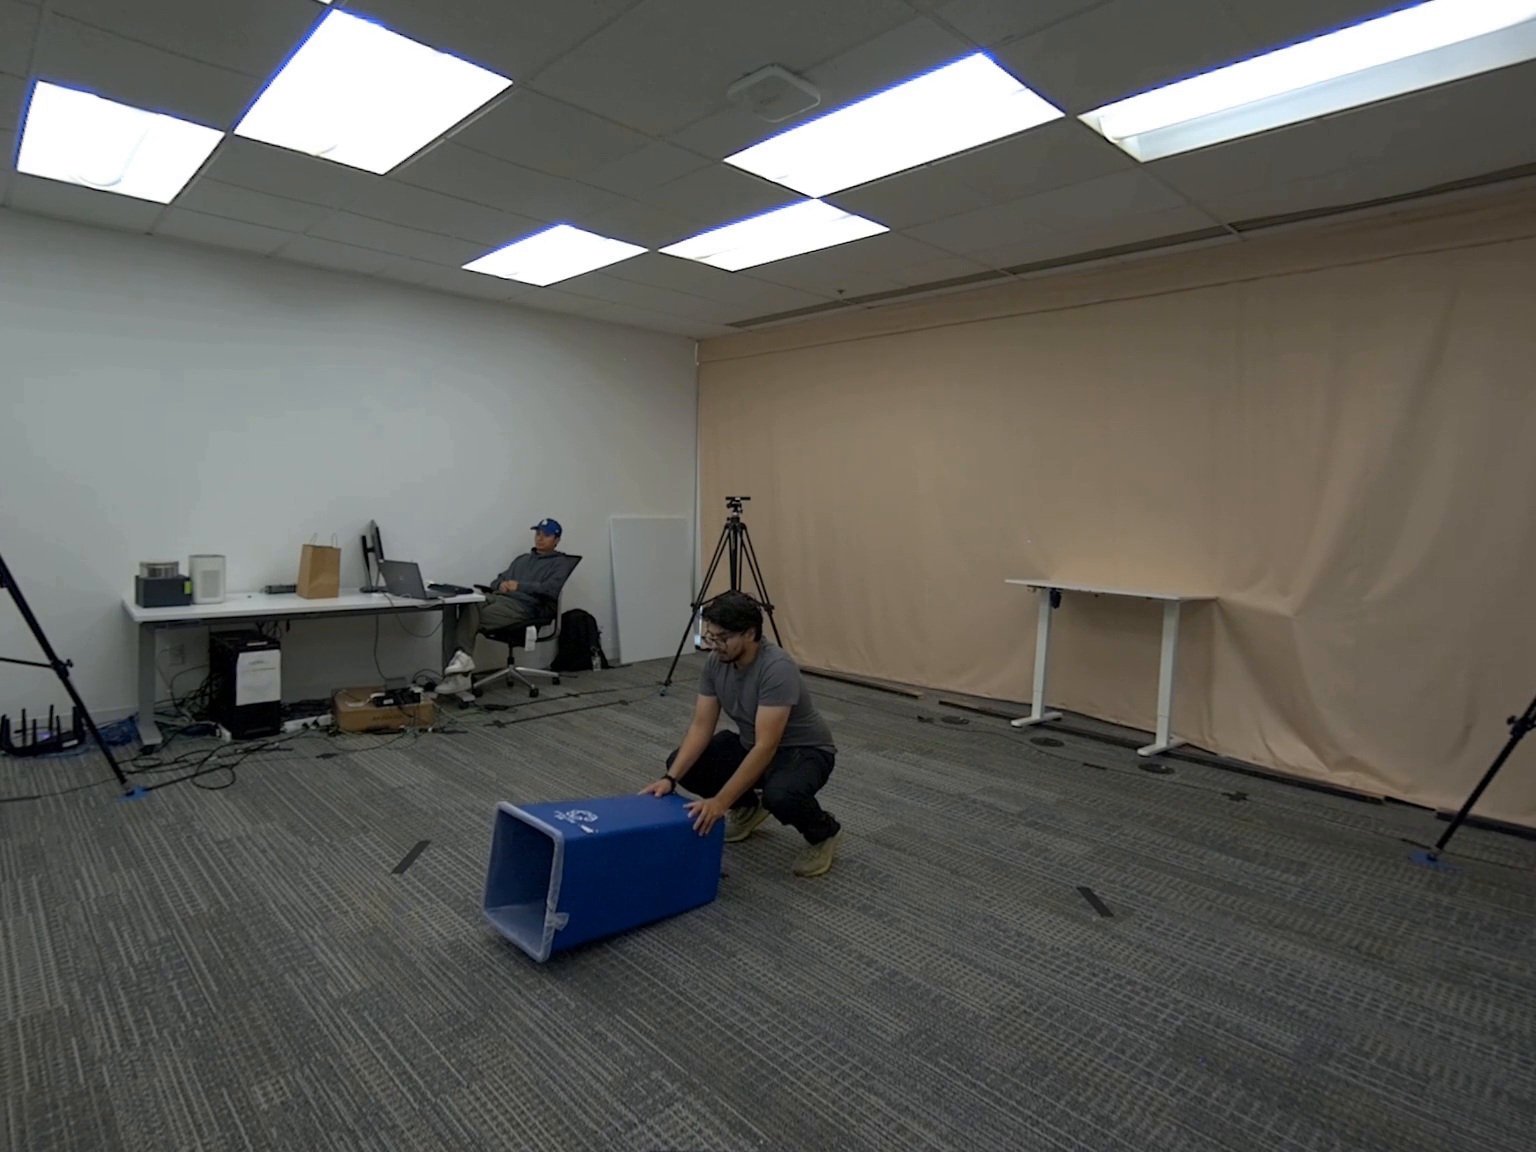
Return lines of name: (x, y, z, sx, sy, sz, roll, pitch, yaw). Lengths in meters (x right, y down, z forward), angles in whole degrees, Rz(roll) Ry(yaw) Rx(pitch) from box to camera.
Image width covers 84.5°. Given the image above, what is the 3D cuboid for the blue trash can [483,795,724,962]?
blue trash can: (-0.521, 0.937, 2.760, 0.384, 0.378, 0.694, 6, -1, 44)
